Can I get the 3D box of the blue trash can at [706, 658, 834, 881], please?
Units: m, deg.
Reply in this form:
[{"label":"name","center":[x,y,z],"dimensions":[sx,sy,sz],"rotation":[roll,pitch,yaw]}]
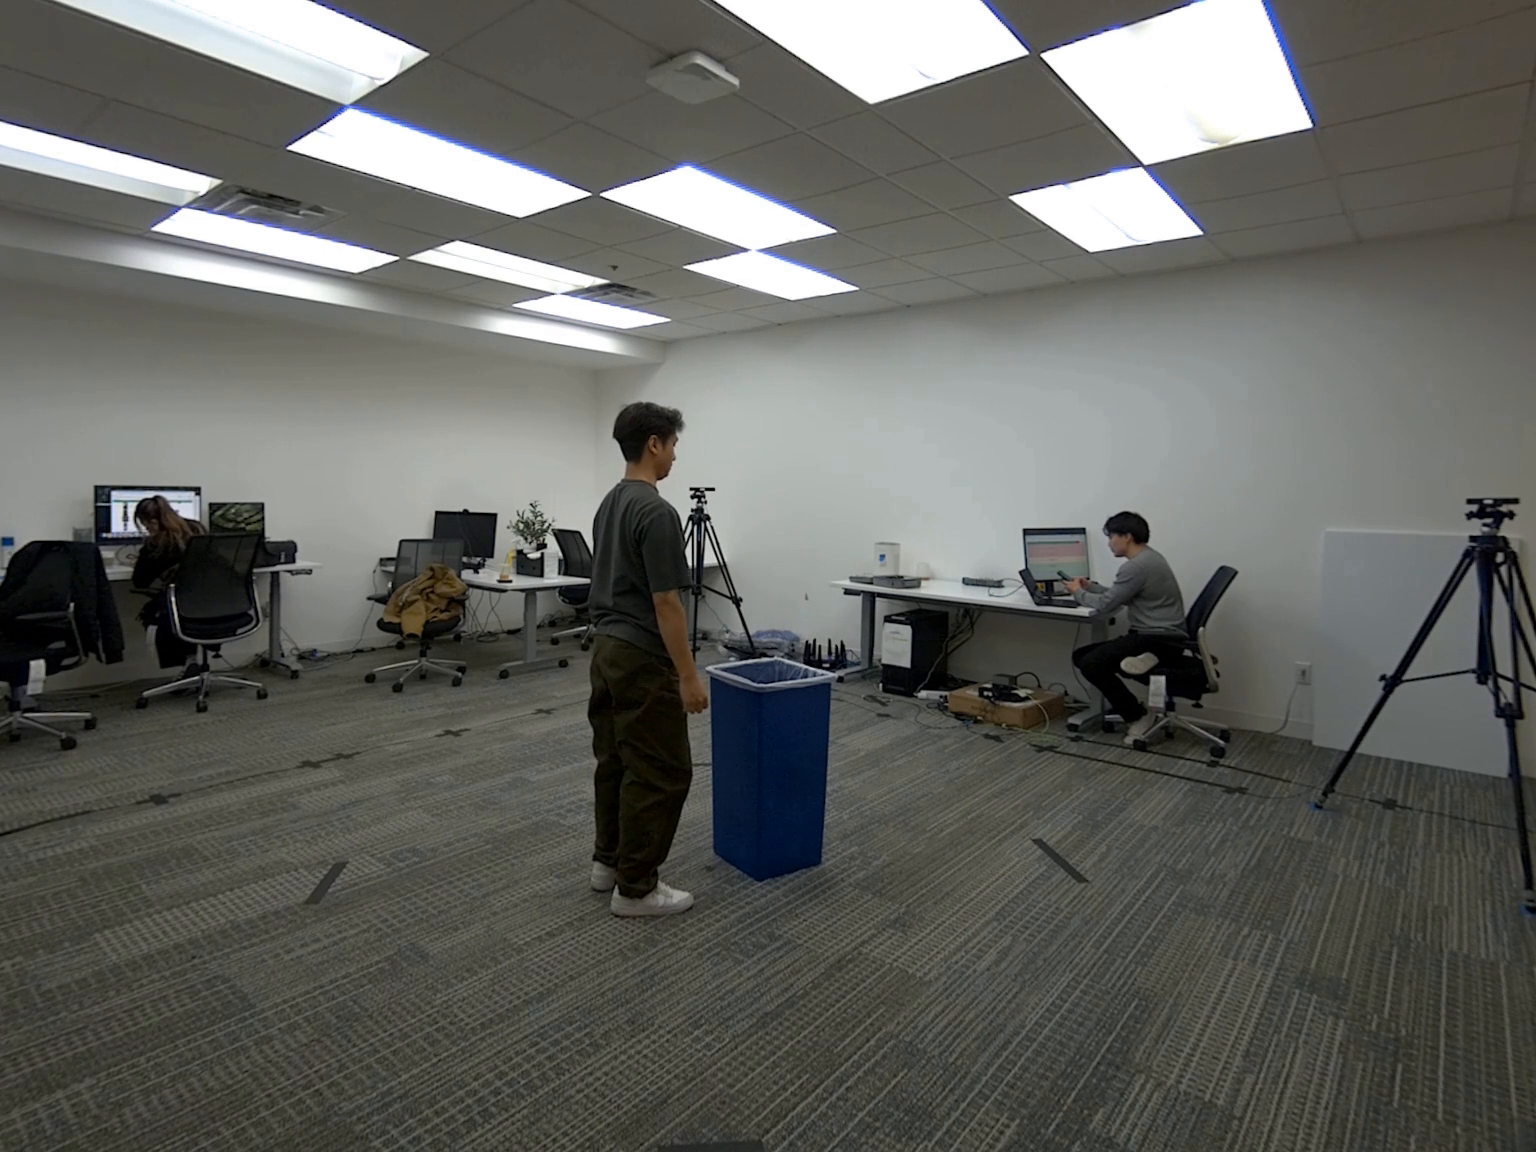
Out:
[{"label":"blue trash can","center":[-0.013,0.703,3.200],"dimensions":[0.367,0.711,0.386],"rotation":[-1,5,-36]}]
